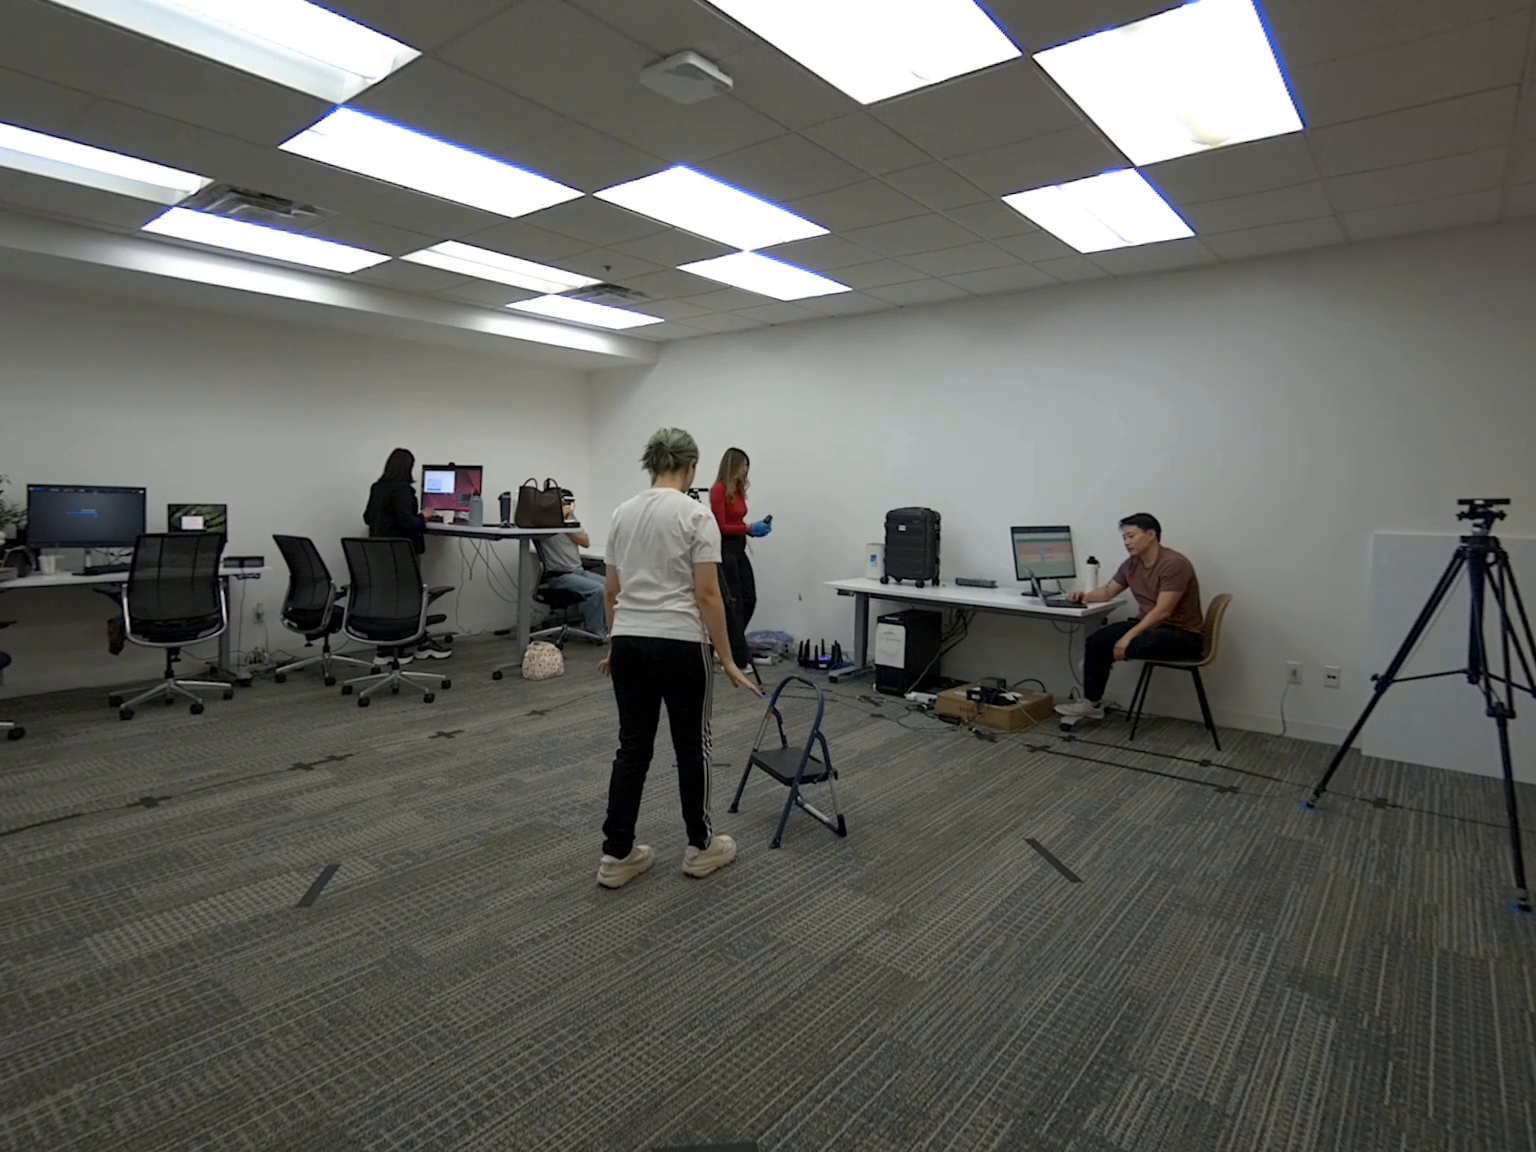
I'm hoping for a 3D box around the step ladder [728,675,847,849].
[{"bbox_3d":[0.077,0.730,3.544,0.341,0.604,0.442,0,4,-26],"label":"step ladder"}]
